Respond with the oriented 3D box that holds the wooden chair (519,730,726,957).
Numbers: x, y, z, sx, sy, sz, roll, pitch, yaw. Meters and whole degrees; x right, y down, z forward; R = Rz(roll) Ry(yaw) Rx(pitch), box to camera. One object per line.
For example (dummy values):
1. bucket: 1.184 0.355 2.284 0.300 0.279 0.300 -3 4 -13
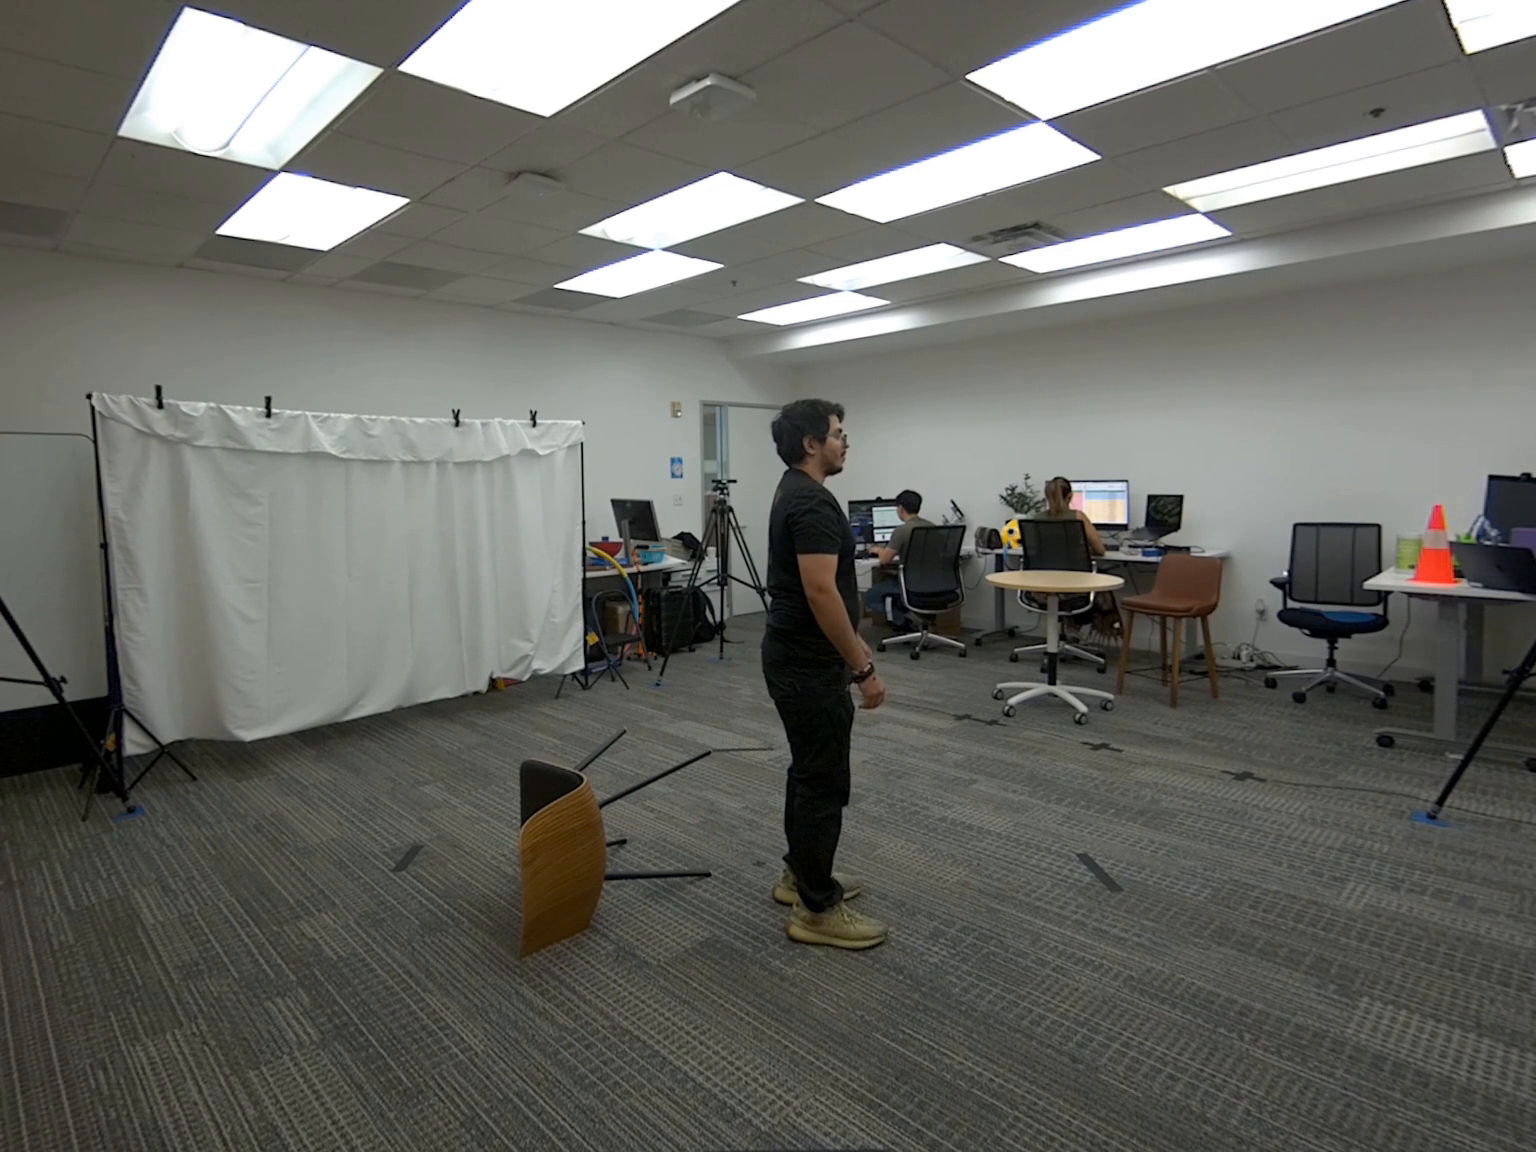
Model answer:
1. wooden chair: -0.639 0.860 2.835 0.538 0.476 0.856 3 7 34
